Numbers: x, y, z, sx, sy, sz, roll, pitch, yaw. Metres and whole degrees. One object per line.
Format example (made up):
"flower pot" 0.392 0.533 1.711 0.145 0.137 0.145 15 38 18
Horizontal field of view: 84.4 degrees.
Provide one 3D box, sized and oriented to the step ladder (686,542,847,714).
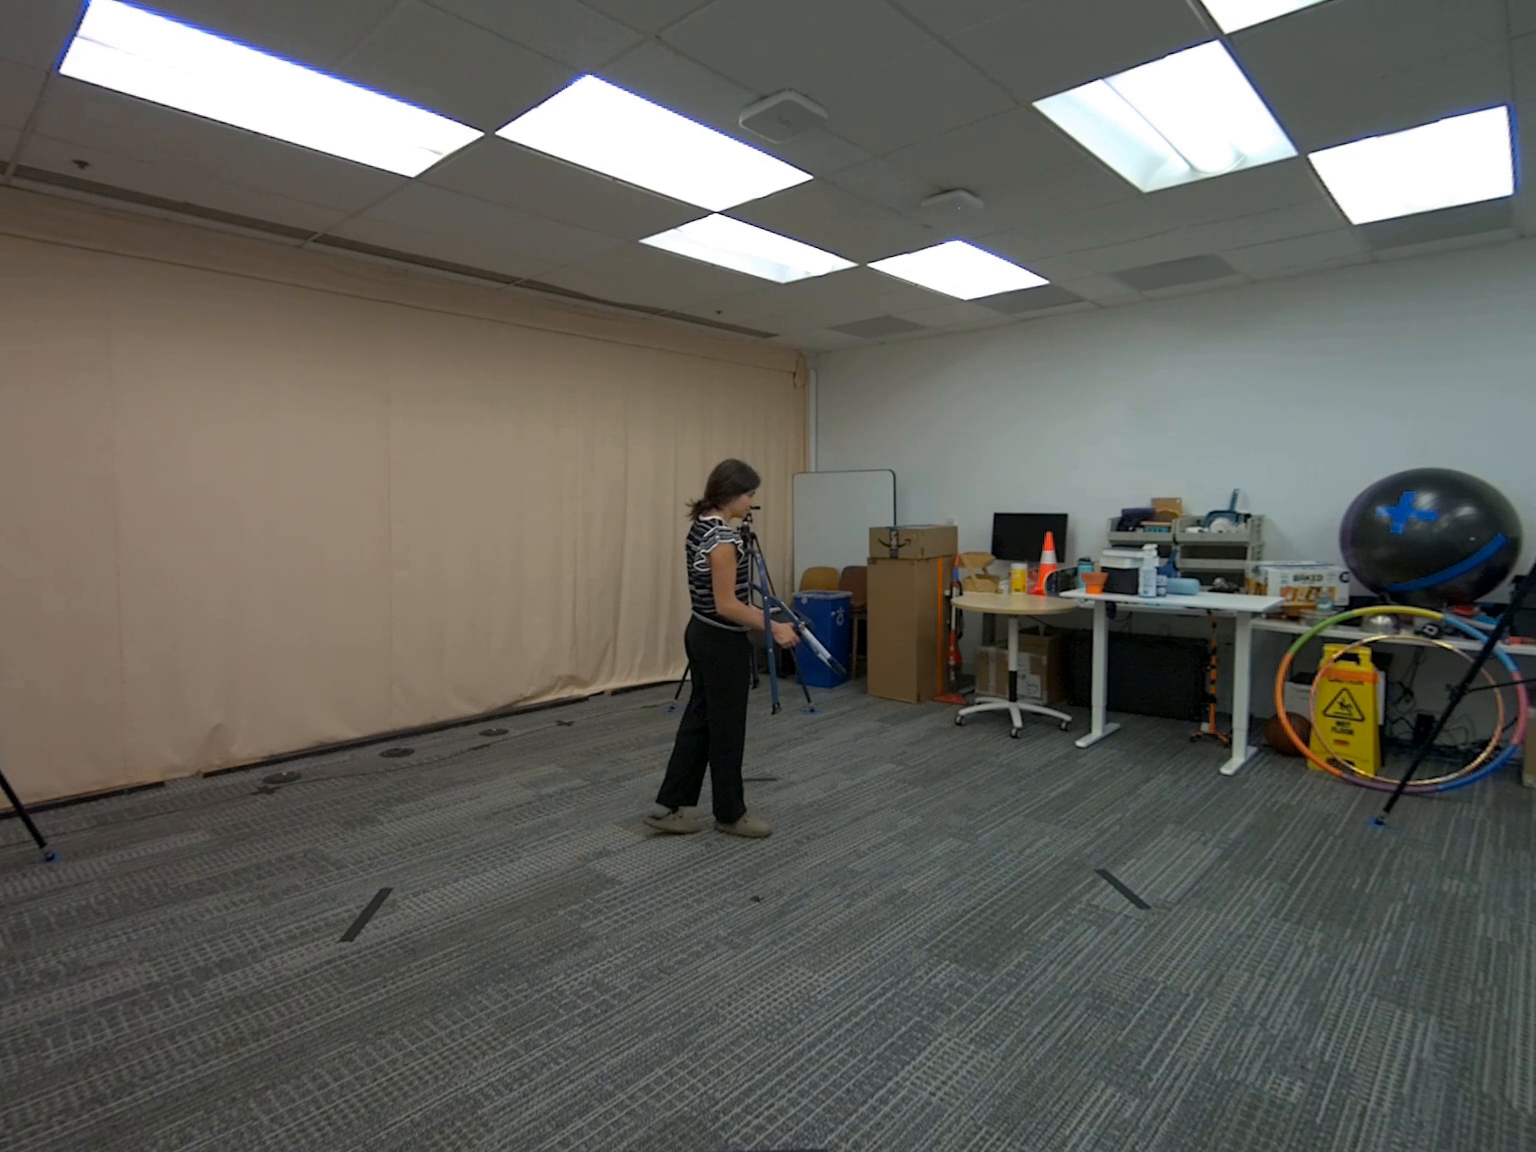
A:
"step ladder" -0.009 0.195 3.593 0.347 0.599 0.438 -27 11 -11
